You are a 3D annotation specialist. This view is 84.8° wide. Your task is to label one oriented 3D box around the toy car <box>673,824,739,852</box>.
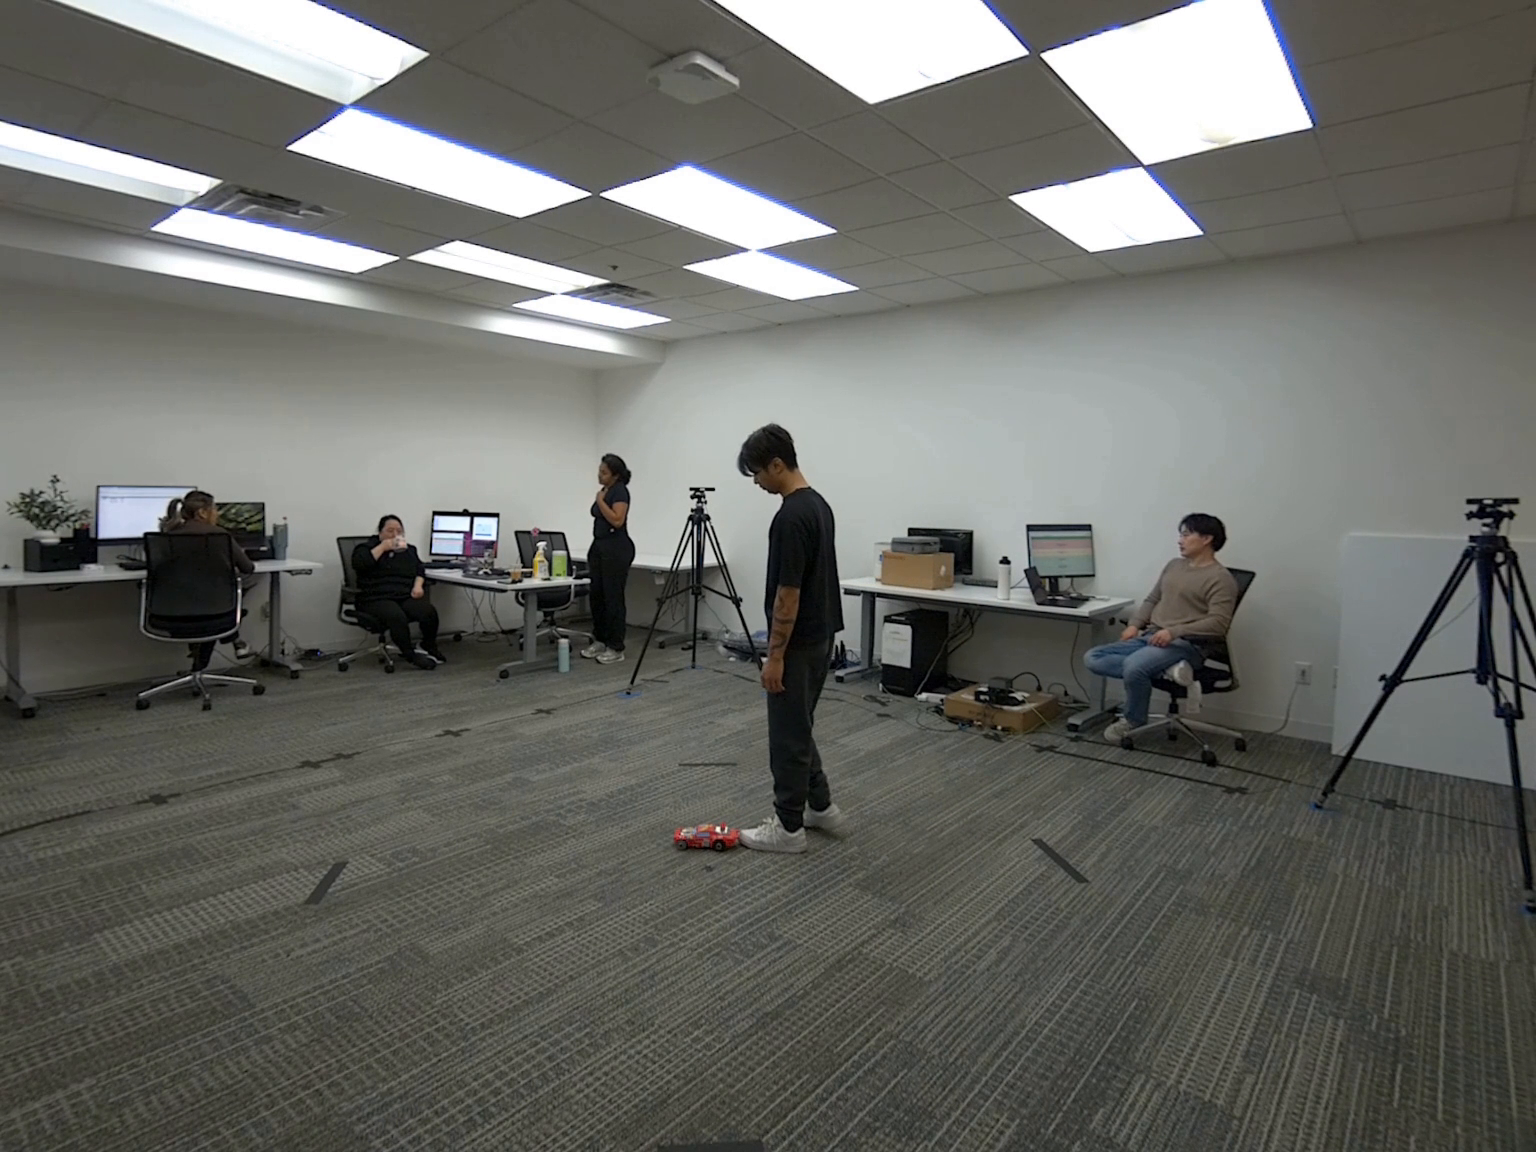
[{"bbox_3d":[-0.247,1.016,3.318,0.255,0.083,0.130,-10,5,4],"label":"toy car"}]
